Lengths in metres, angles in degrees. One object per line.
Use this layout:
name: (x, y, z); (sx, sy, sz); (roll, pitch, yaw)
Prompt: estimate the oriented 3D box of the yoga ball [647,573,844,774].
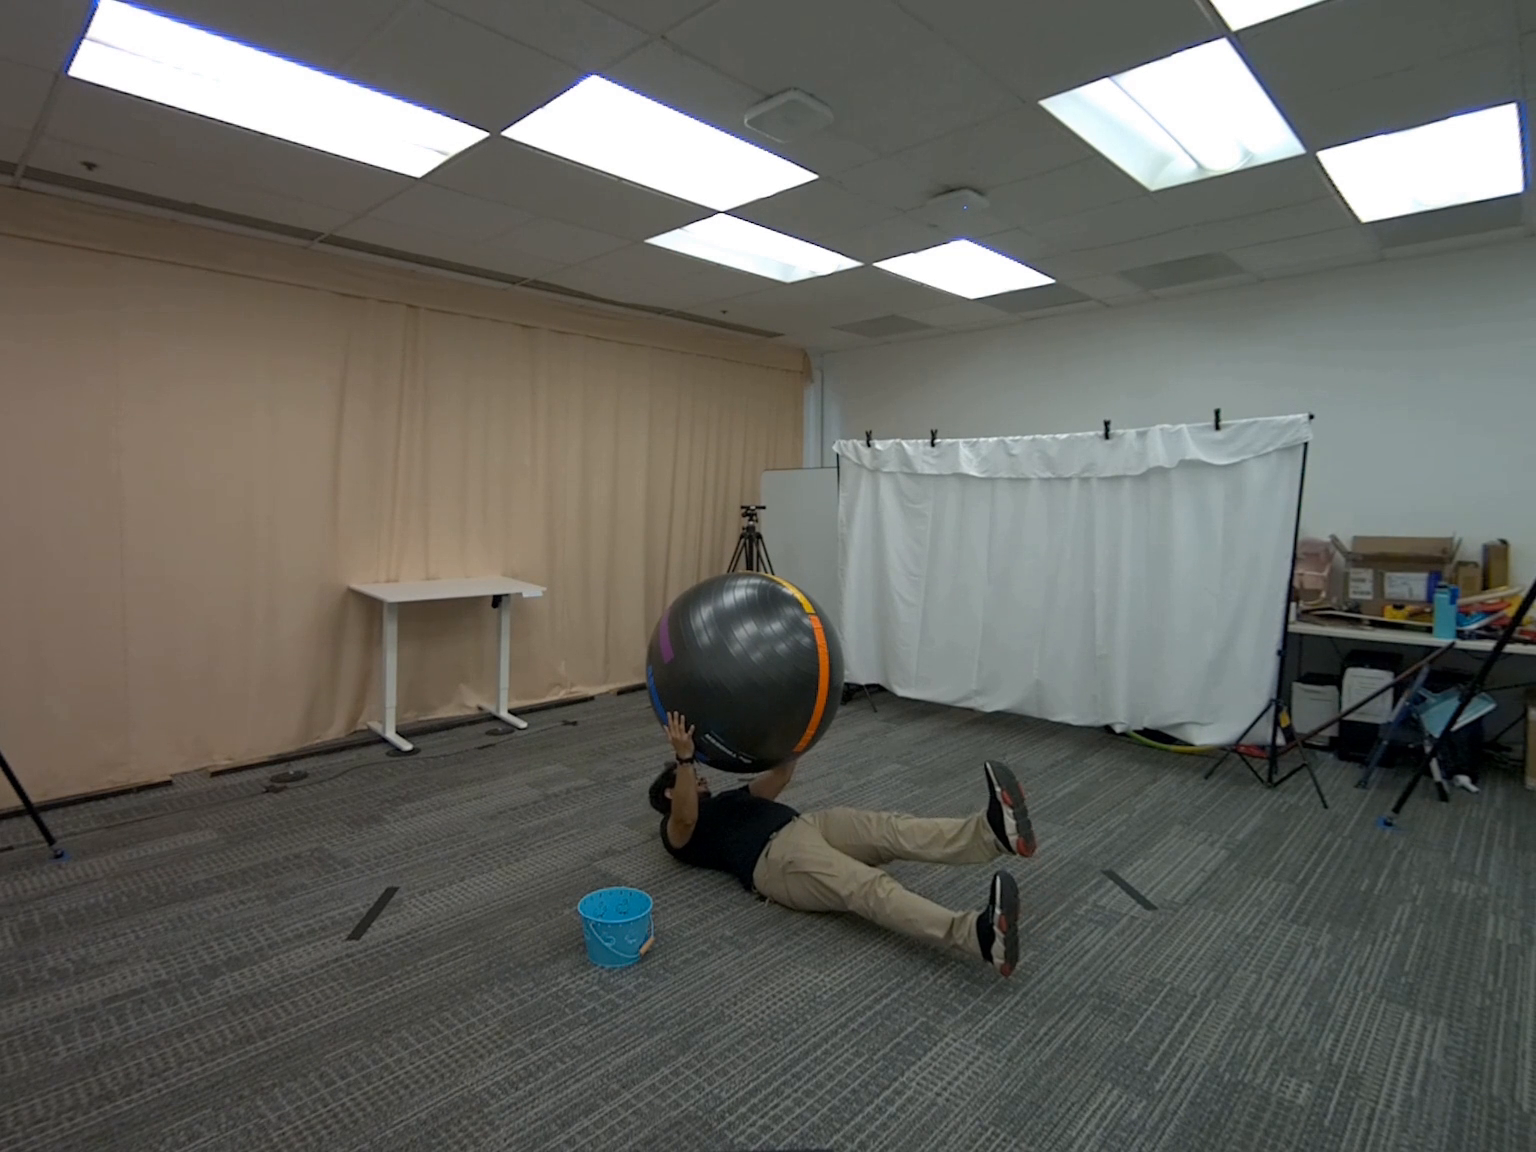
yoga ball: (-0.088, 0.369, 3.223); (0.757, 0.756, 0.761); (0, 4, -2)
